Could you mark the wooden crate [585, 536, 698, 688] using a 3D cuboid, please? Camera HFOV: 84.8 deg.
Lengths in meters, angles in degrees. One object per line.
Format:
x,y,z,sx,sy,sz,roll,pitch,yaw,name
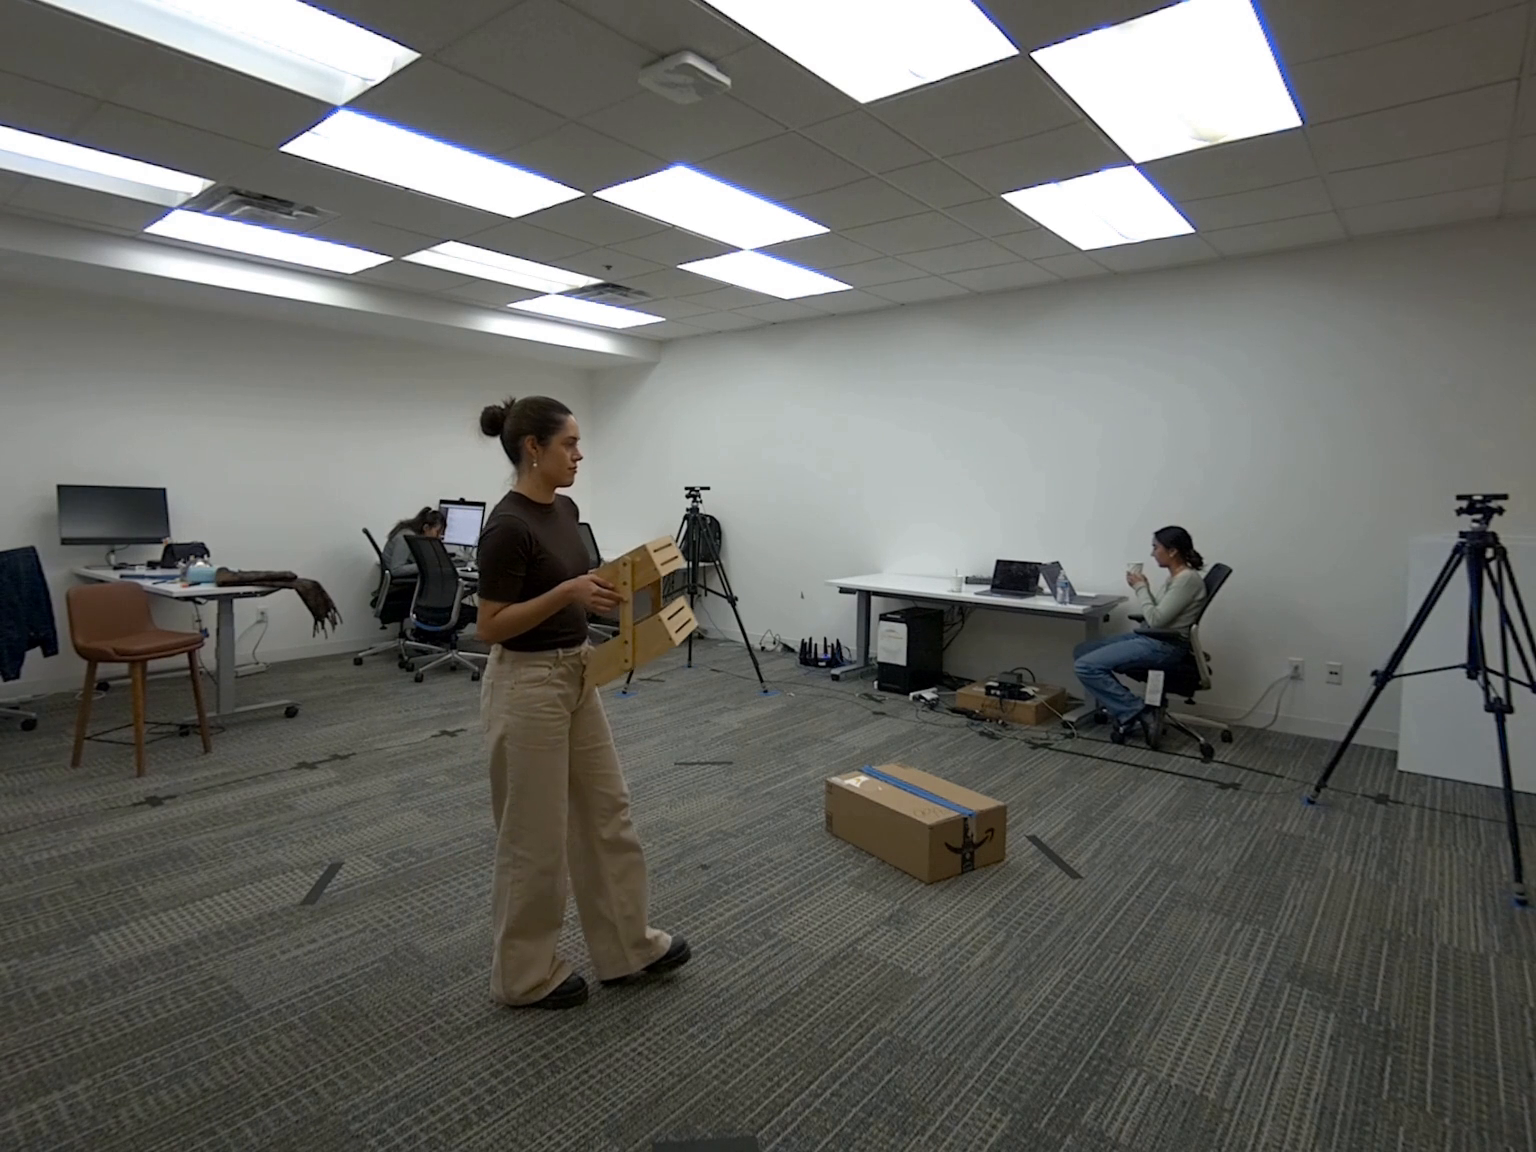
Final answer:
-0.367,0.083,2.236,0.303,0.273,0.323,-28,2,9,wooden crate
